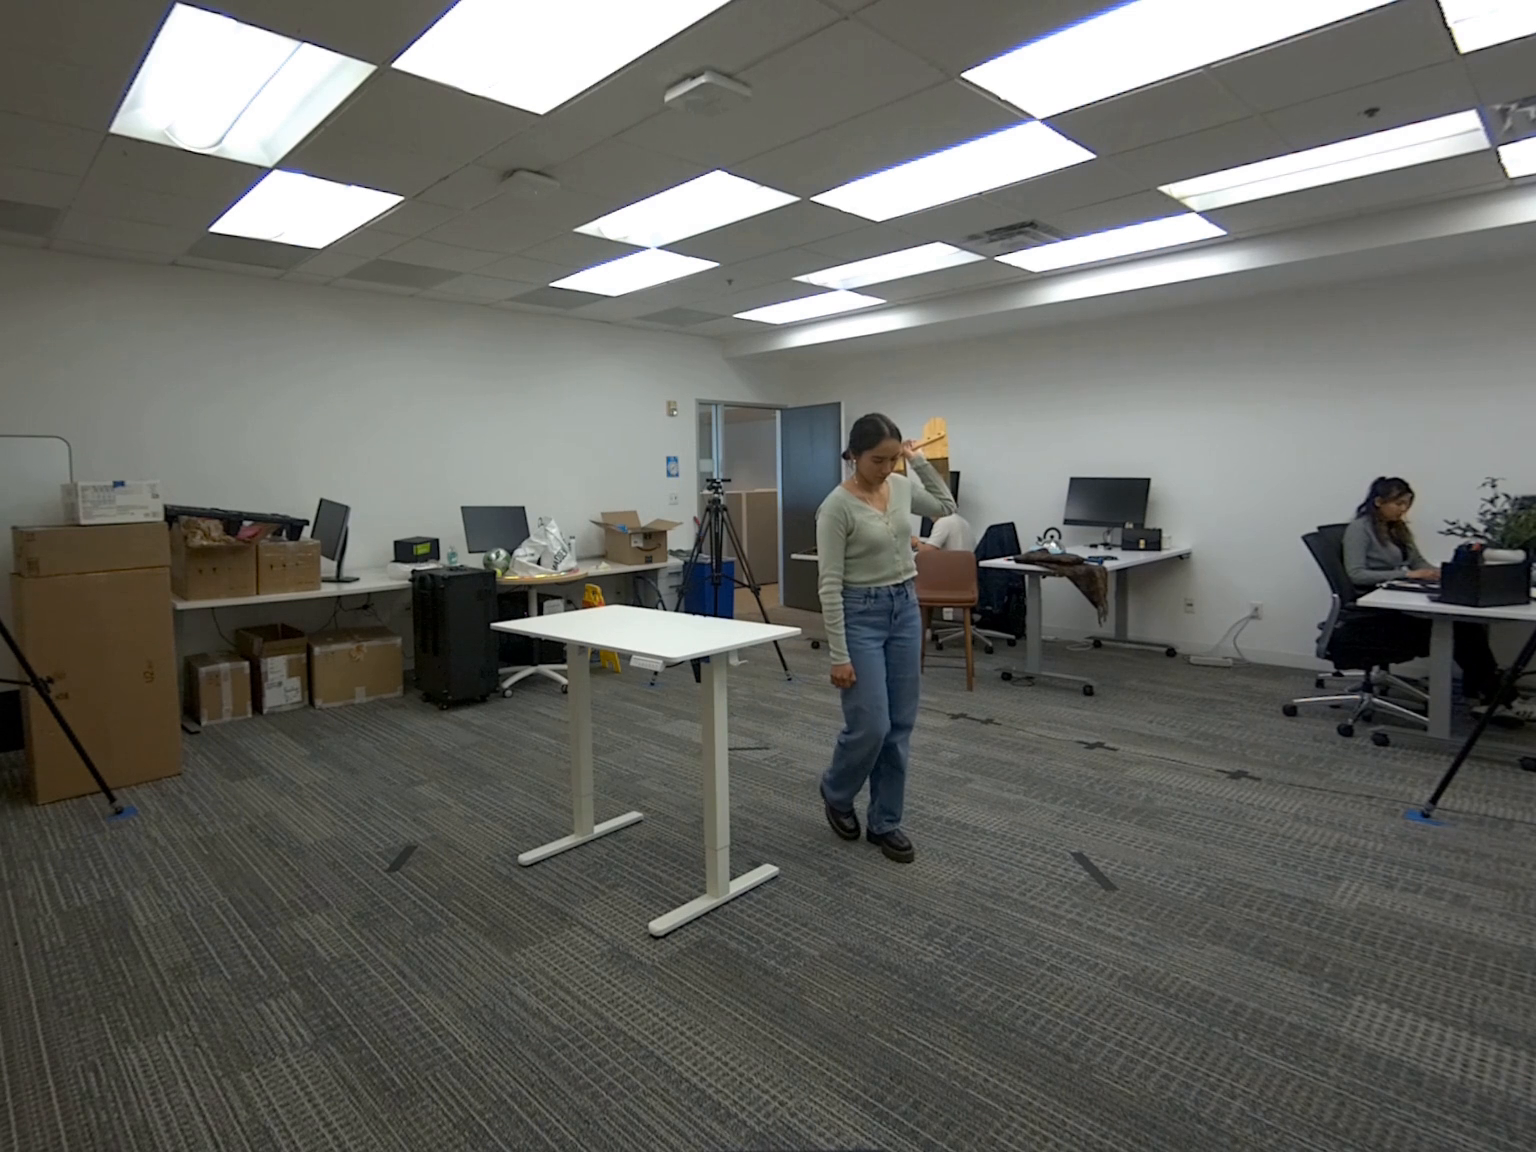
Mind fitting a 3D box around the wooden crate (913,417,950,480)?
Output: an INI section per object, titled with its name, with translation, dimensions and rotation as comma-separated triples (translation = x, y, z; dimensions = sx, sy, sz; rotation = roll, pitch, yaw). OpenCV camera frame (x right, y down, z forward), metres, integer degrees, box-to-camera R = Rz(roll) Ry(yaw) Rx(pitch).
[wooden crate]
translation = 0.593, -0.419, 3.423
dimensions = 0.277, 0.313, 0.309
rotation = -5, 45, 13
